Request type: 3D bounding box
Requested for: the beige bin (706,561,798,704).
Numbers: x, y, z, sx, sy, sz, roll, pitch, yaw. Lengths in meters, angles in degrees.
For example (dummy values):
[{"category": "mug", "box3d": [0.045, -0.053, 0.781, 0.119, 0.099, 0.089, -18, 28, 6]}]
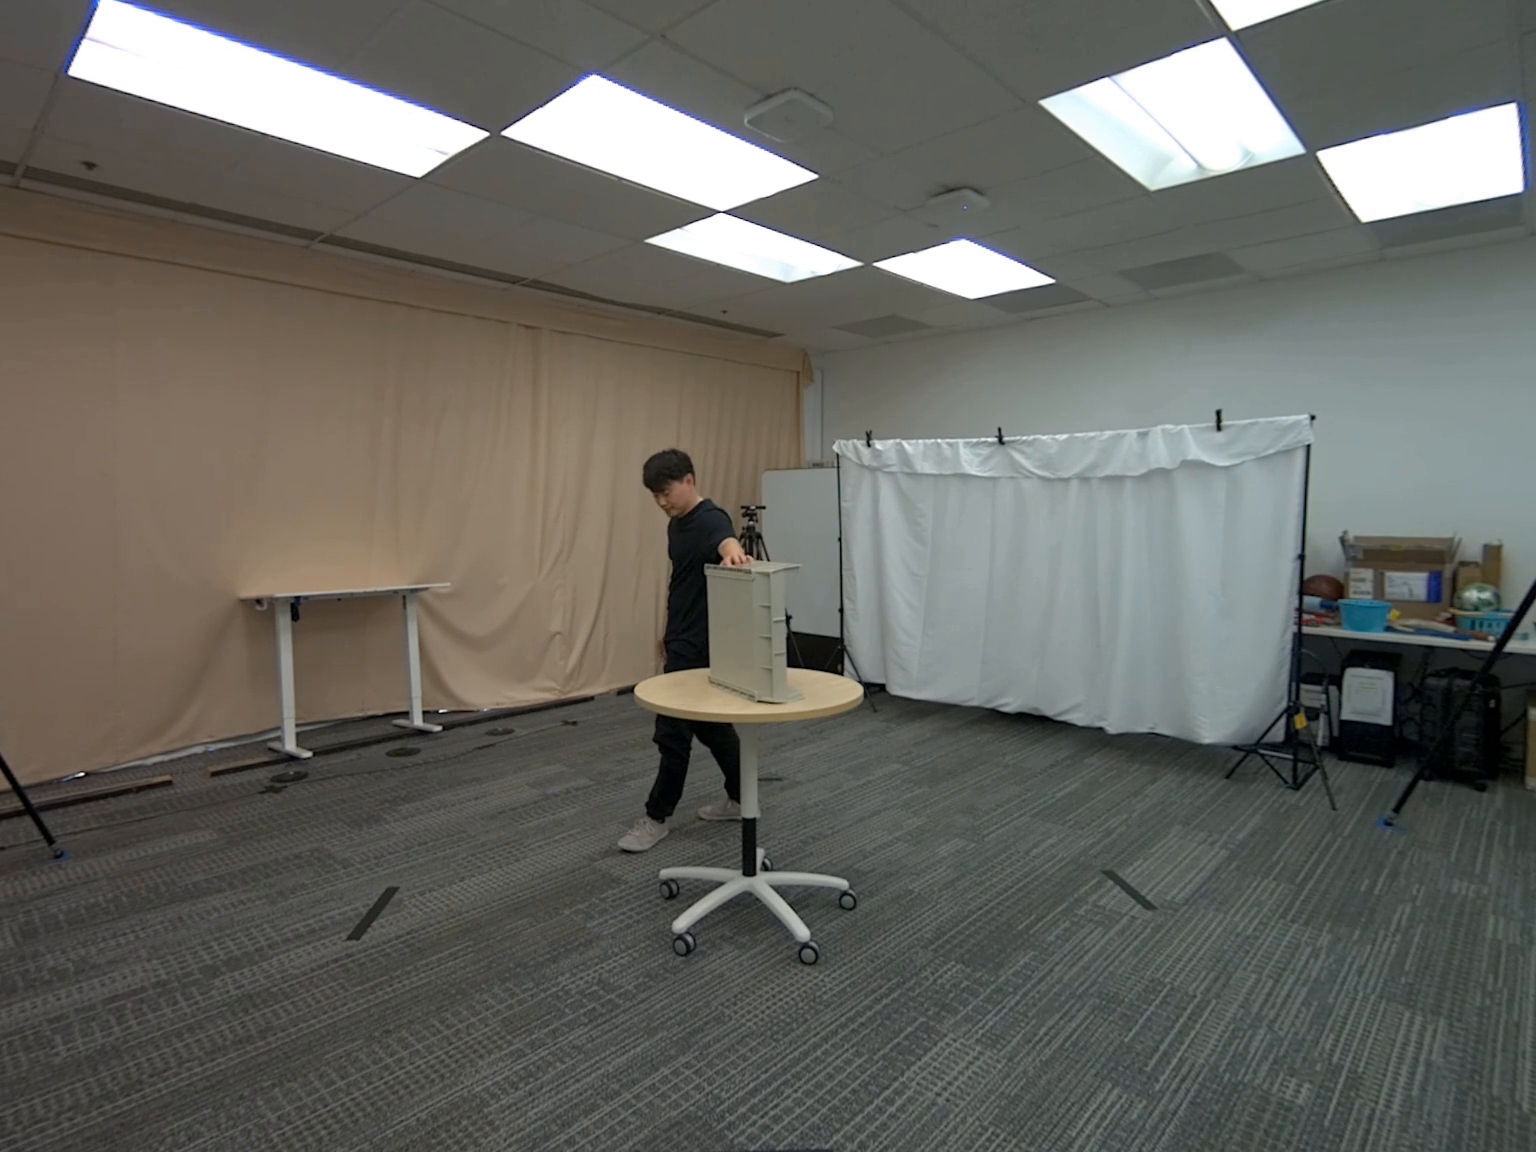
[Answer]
[{"category": "beige bin", "box3d": [-0.034, 0.172, 2.745, 0.184, 0.421, 0.388, -4, 5, -32]}]
